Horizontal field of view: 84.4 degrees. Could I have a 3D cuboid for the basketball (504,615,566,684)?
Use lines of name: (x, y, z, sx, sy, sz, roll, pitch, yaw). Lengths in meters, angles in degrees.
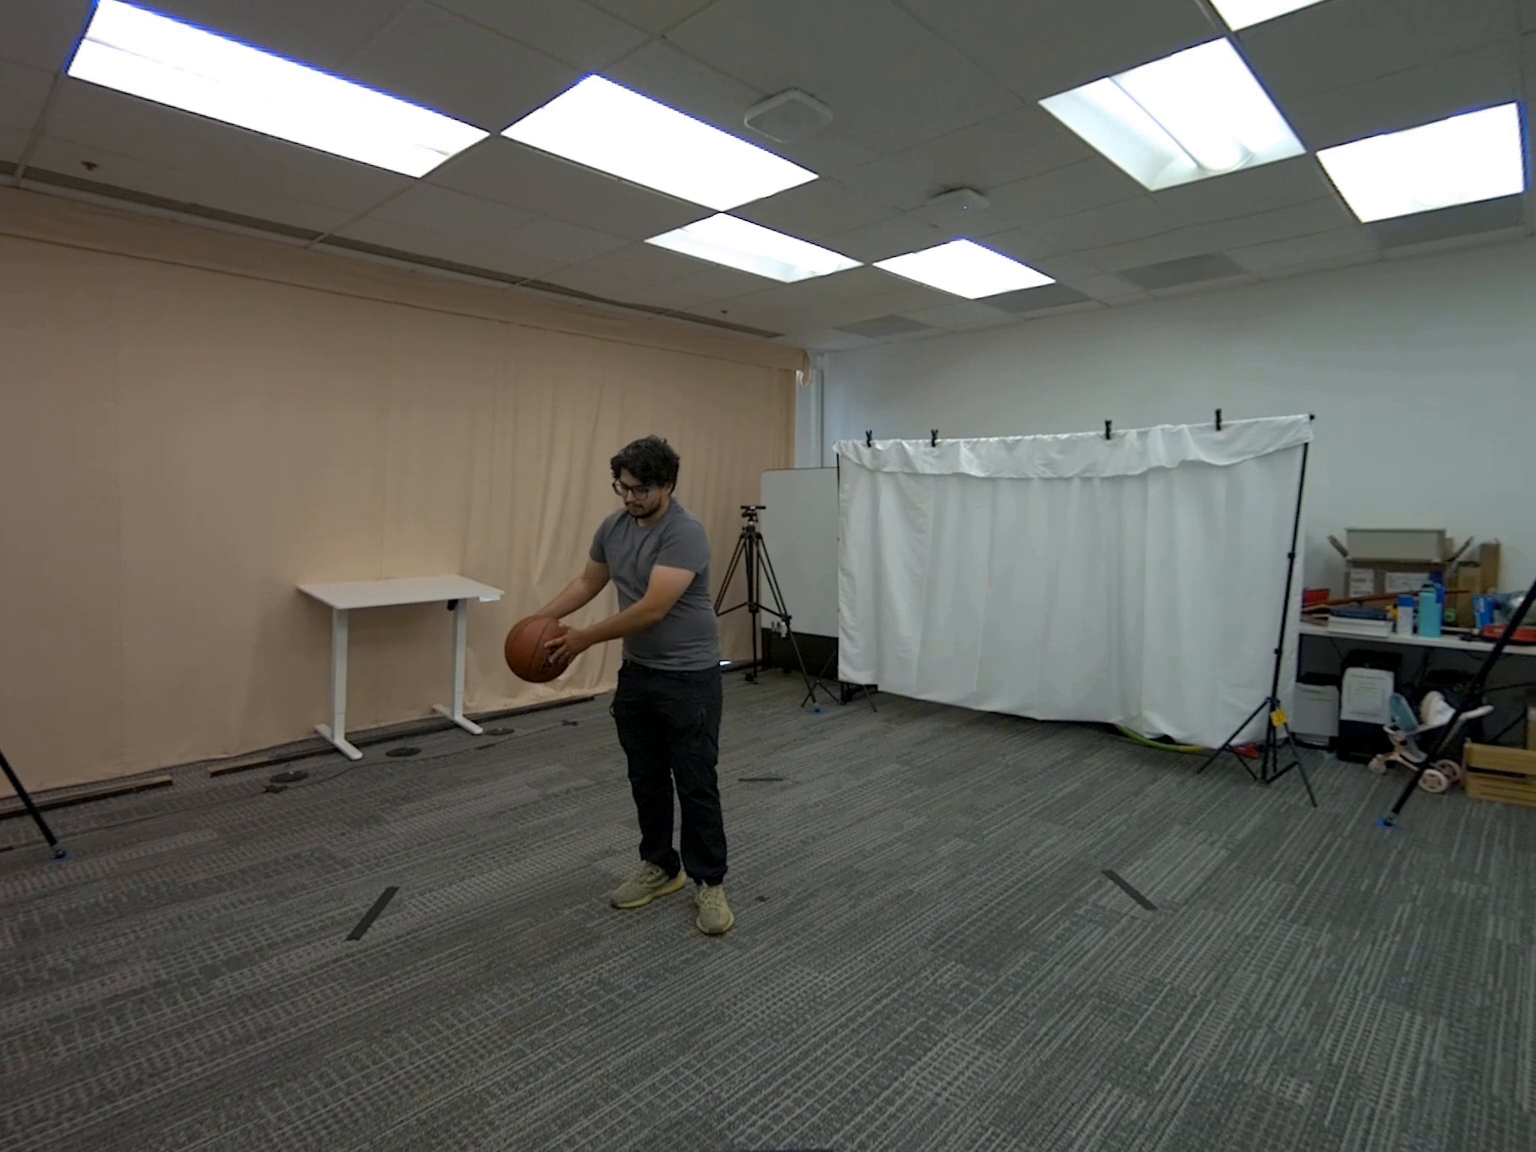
basketball: (-0.799, 0.262, 2.962, 0.236, 0.235, 0.237, 0, 4, -2)
